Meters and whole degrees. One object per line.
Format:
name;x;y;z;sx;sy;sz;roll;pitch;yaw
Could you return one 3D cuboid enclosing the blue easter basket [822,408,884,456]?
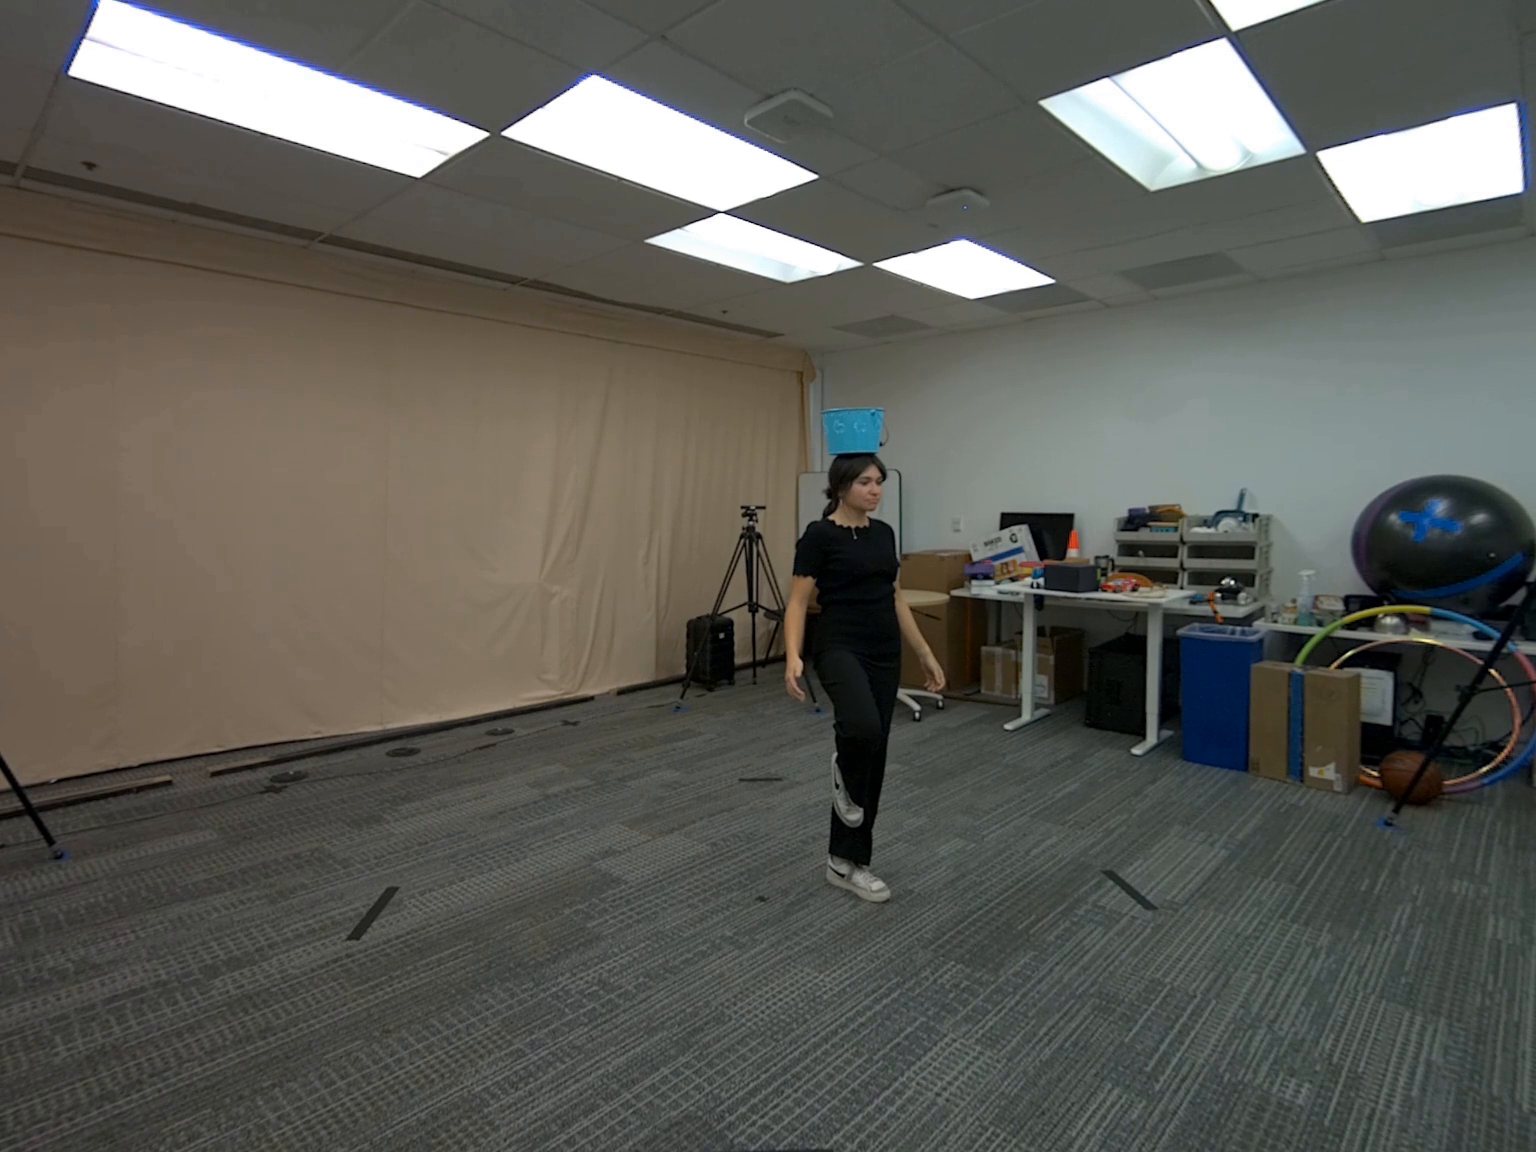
blue easter basket;0.316;-0.519;3.037;0.243;0.155;0.244;-1;5;-2
